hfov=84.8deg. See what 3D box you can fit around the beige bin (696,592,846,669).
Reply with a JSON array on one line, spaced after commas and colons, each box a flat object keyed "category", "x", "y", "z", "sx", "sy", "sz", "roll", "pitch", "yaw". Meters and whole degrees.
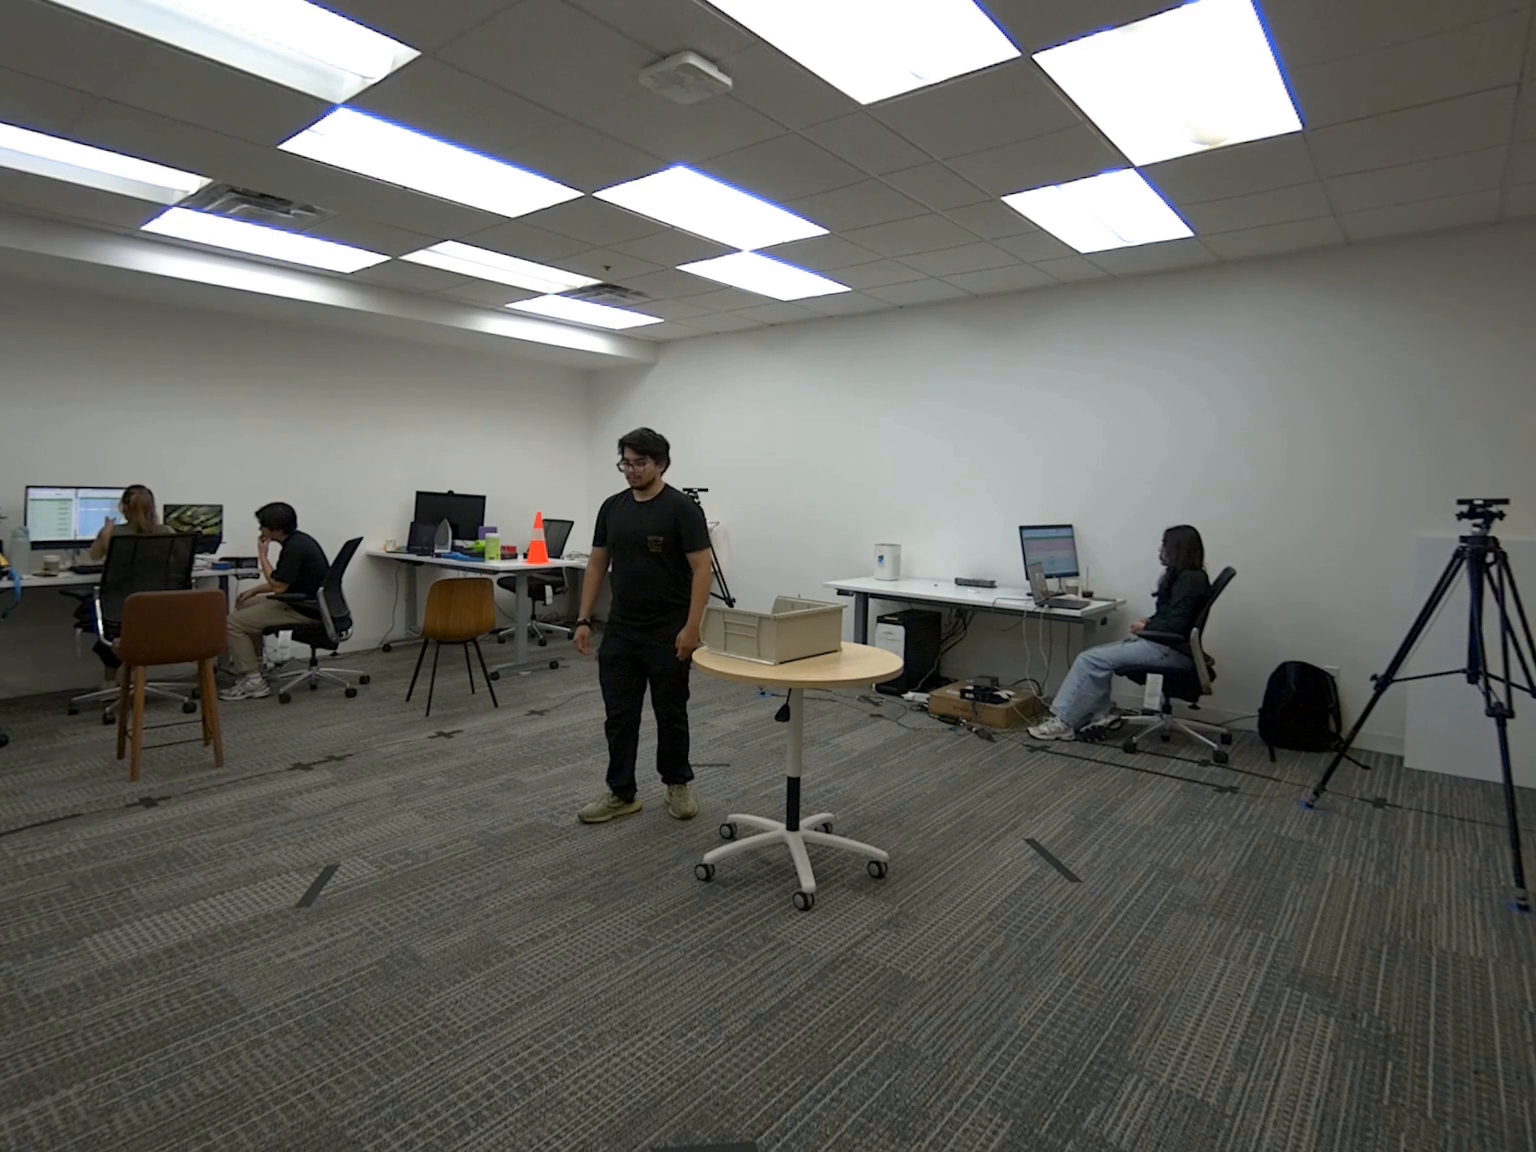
[{"category": "beige bin", "x": 0.011, "y": 0.194, "z": 3.198, "sx": 0.390, "sy": 0.188, "sz": 0.410, "roll": 7, "pitch": 8, "yaw": 42}]
